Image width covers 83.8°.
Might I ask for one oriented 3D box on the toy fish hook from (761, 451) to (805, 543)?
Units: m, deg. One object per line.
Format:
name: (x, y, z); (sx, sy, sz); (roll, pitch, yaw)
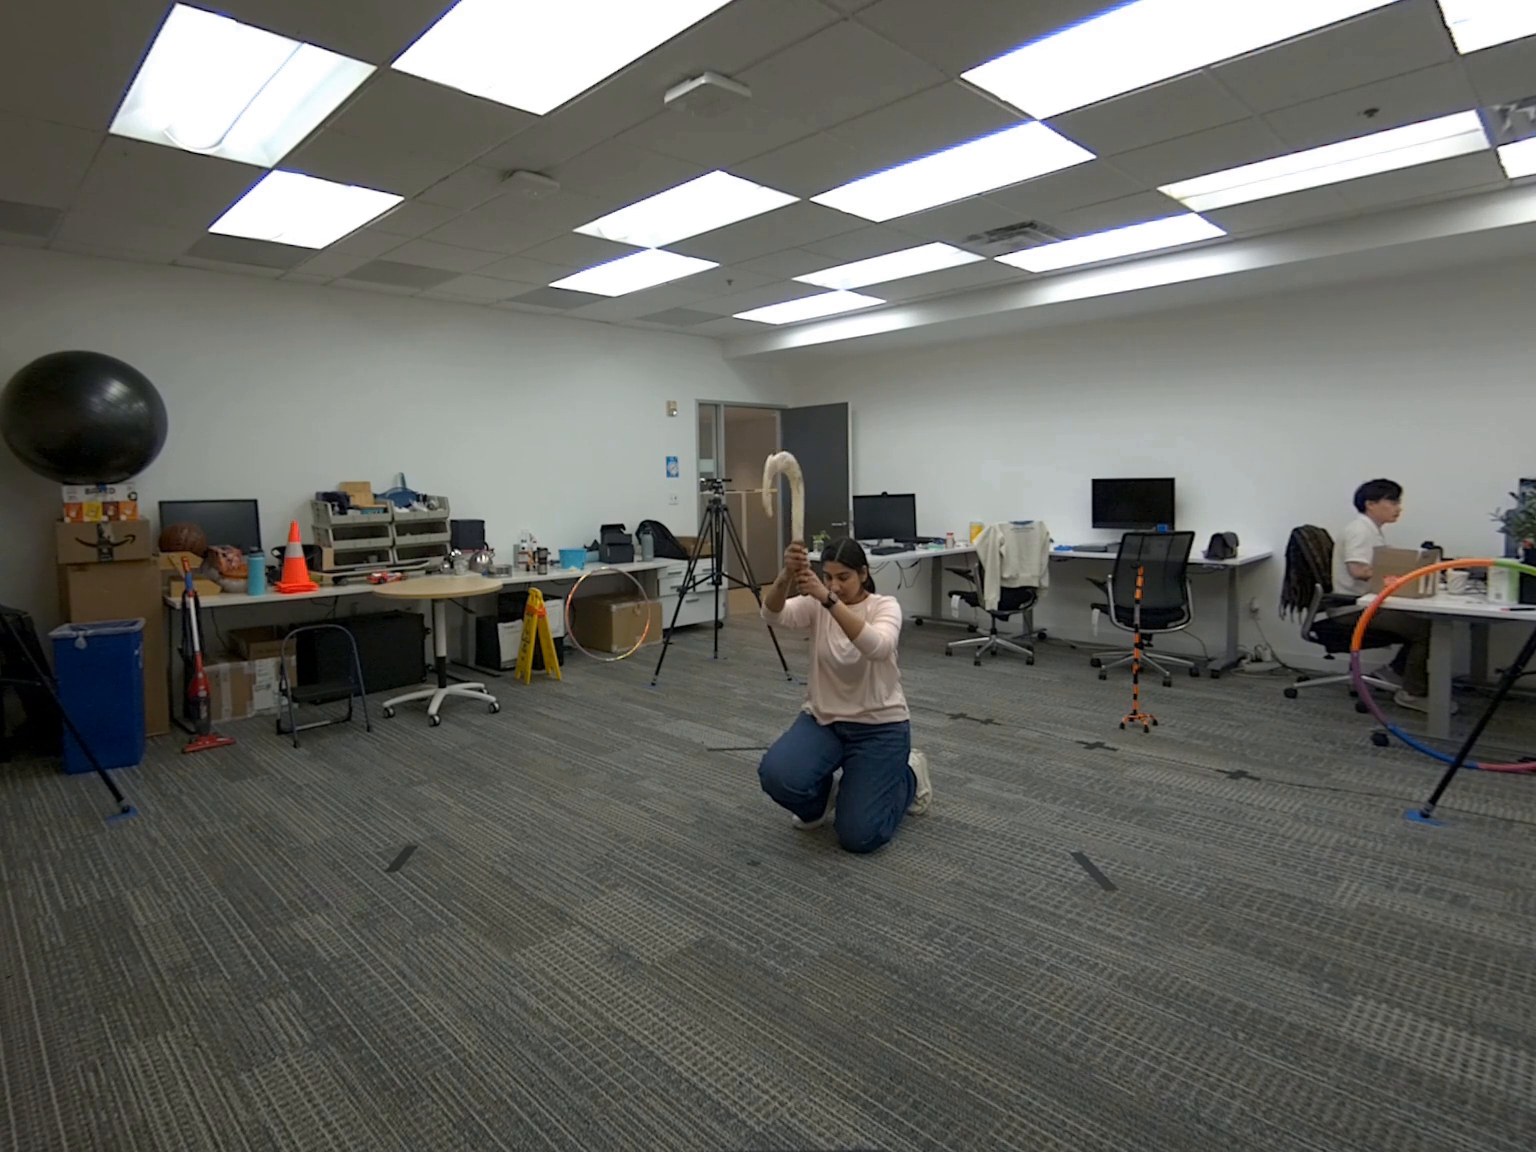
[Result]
toy fish hook: (0.073, -0.147, 2.896); (0.050, 0.502, 0.220); (-1, 13, 43)
